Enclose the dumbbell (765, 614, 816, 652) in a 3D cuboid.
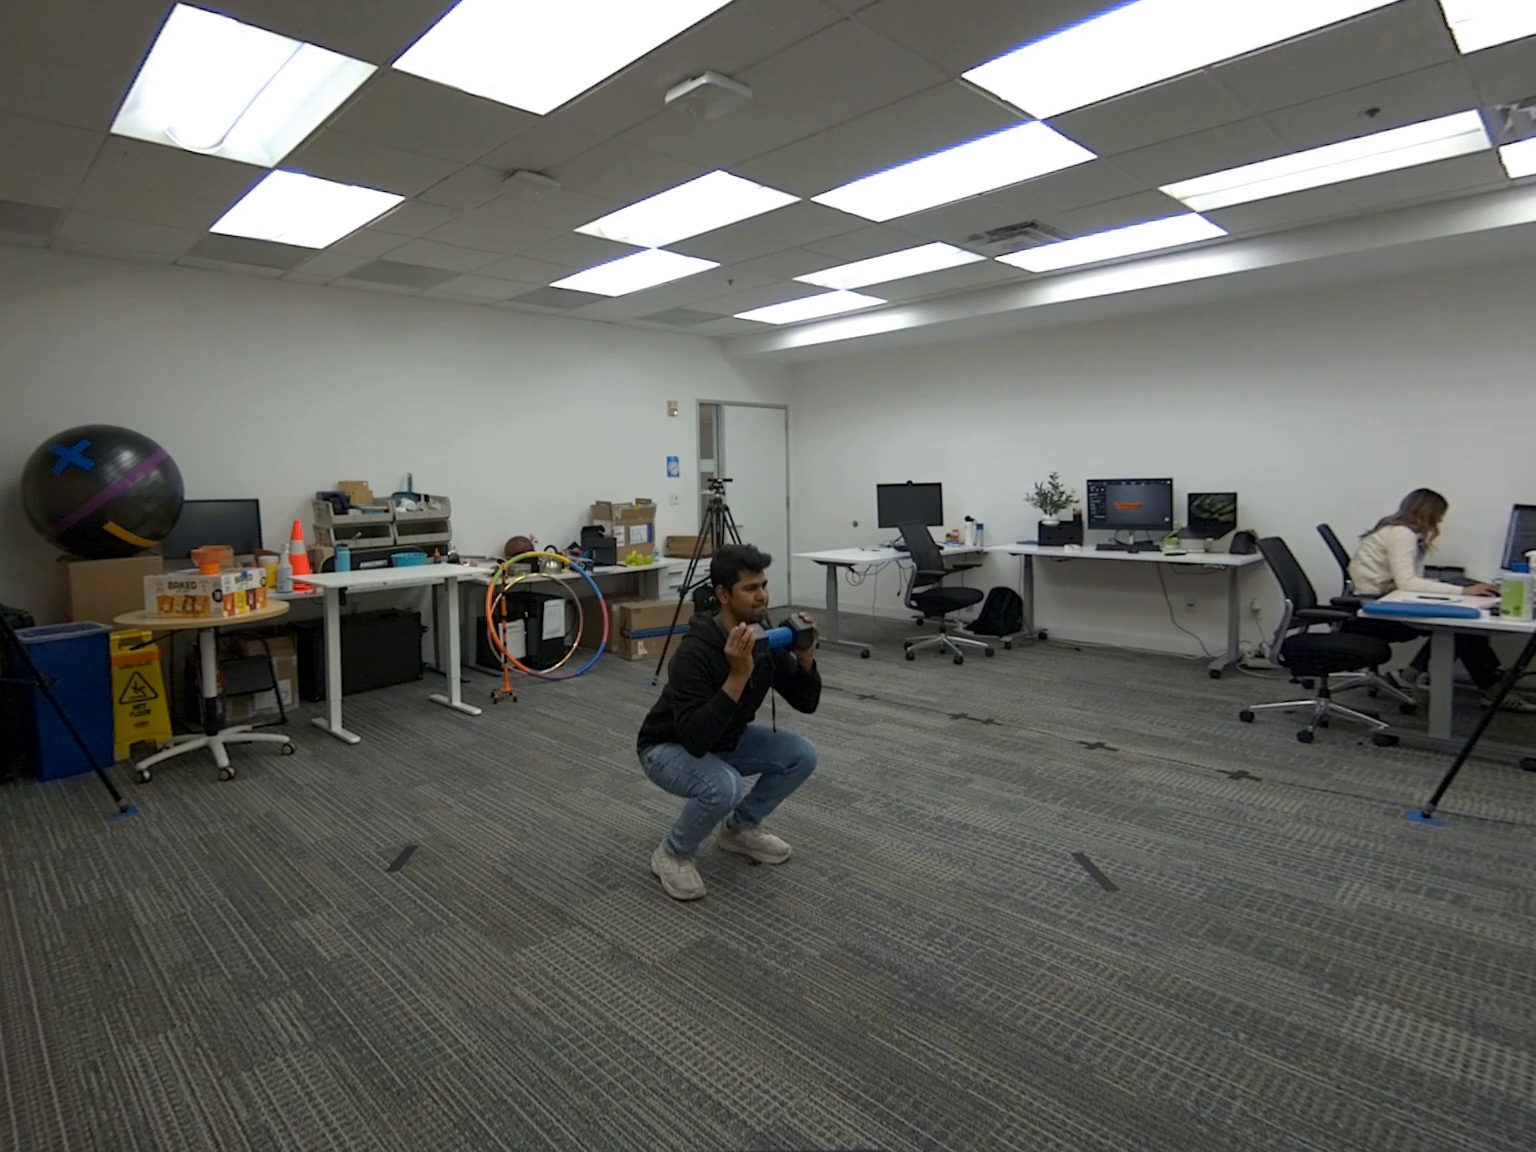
[{"bbox_3d":[0.014,0.199,2.829,0.286,0.122,0.112,-6,11,-42],"label":"dumbbell"}]
